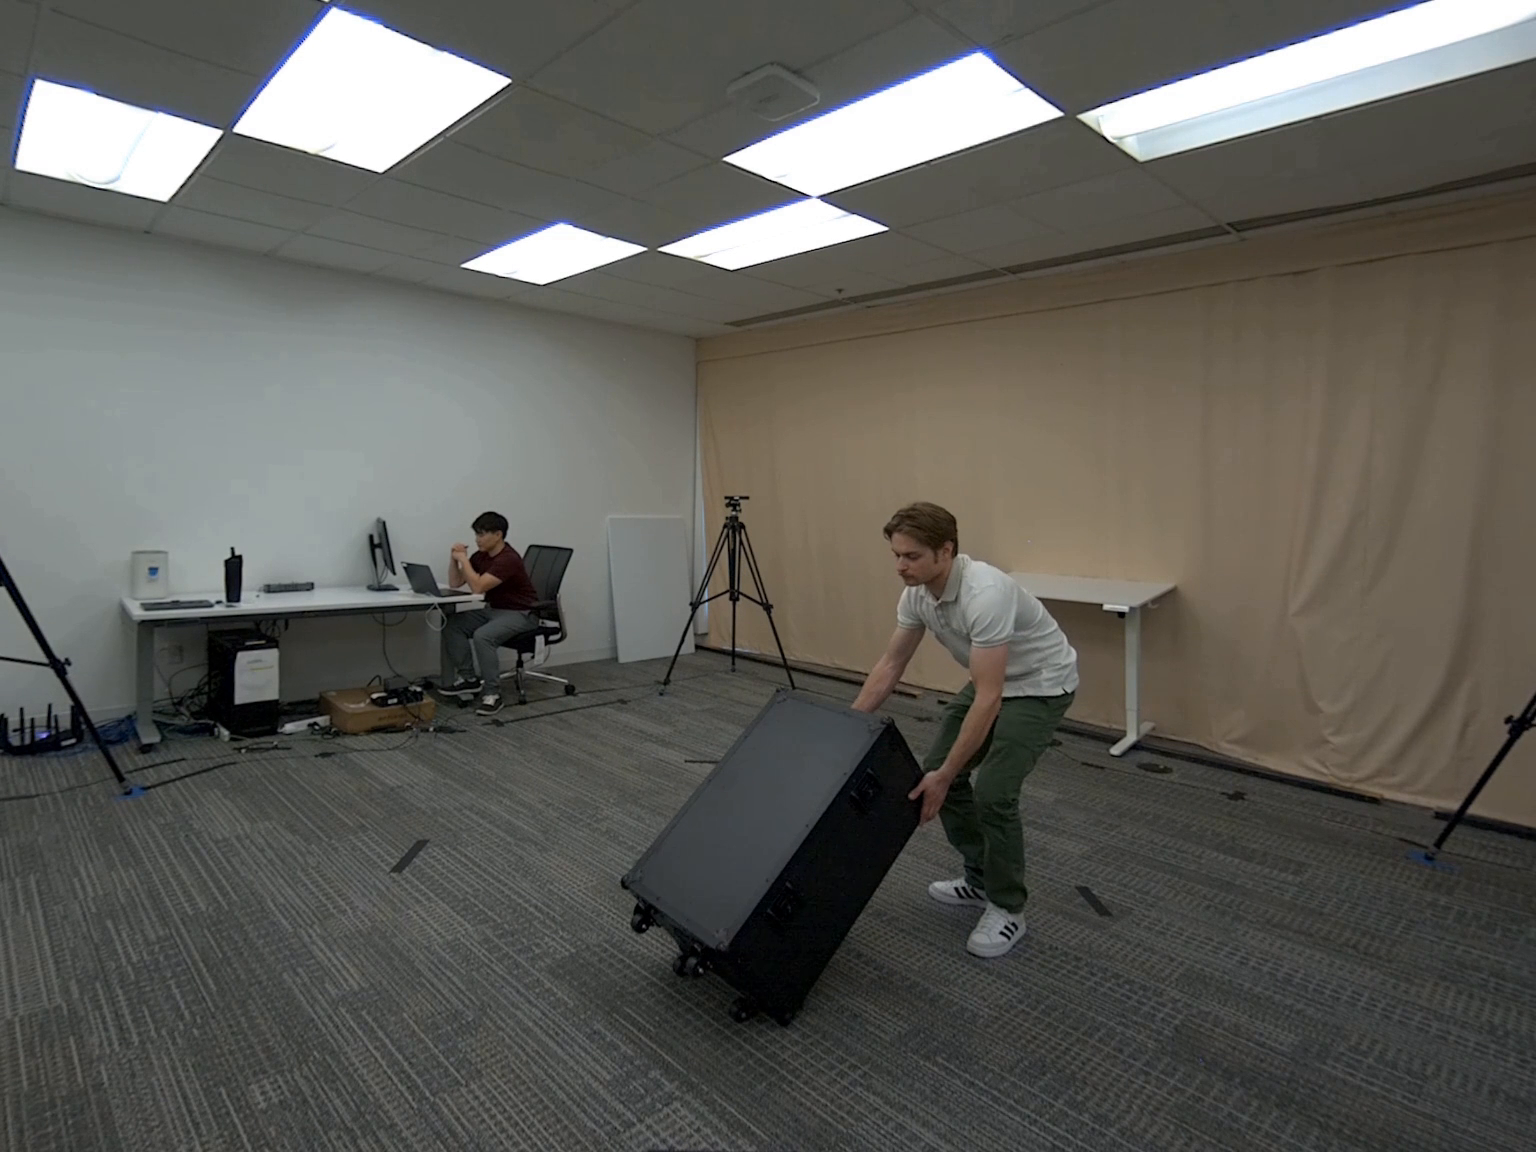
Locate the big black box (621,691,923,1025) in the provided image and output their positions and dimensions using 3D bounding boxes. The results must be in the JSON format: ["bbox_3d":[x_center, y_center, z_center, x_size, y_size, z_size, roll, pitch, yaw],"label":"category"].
[{"bbox_3d":[0.020,0.808,2.475,0.535,0.386,0.861,7,47,50],"label":"big black box"}]
